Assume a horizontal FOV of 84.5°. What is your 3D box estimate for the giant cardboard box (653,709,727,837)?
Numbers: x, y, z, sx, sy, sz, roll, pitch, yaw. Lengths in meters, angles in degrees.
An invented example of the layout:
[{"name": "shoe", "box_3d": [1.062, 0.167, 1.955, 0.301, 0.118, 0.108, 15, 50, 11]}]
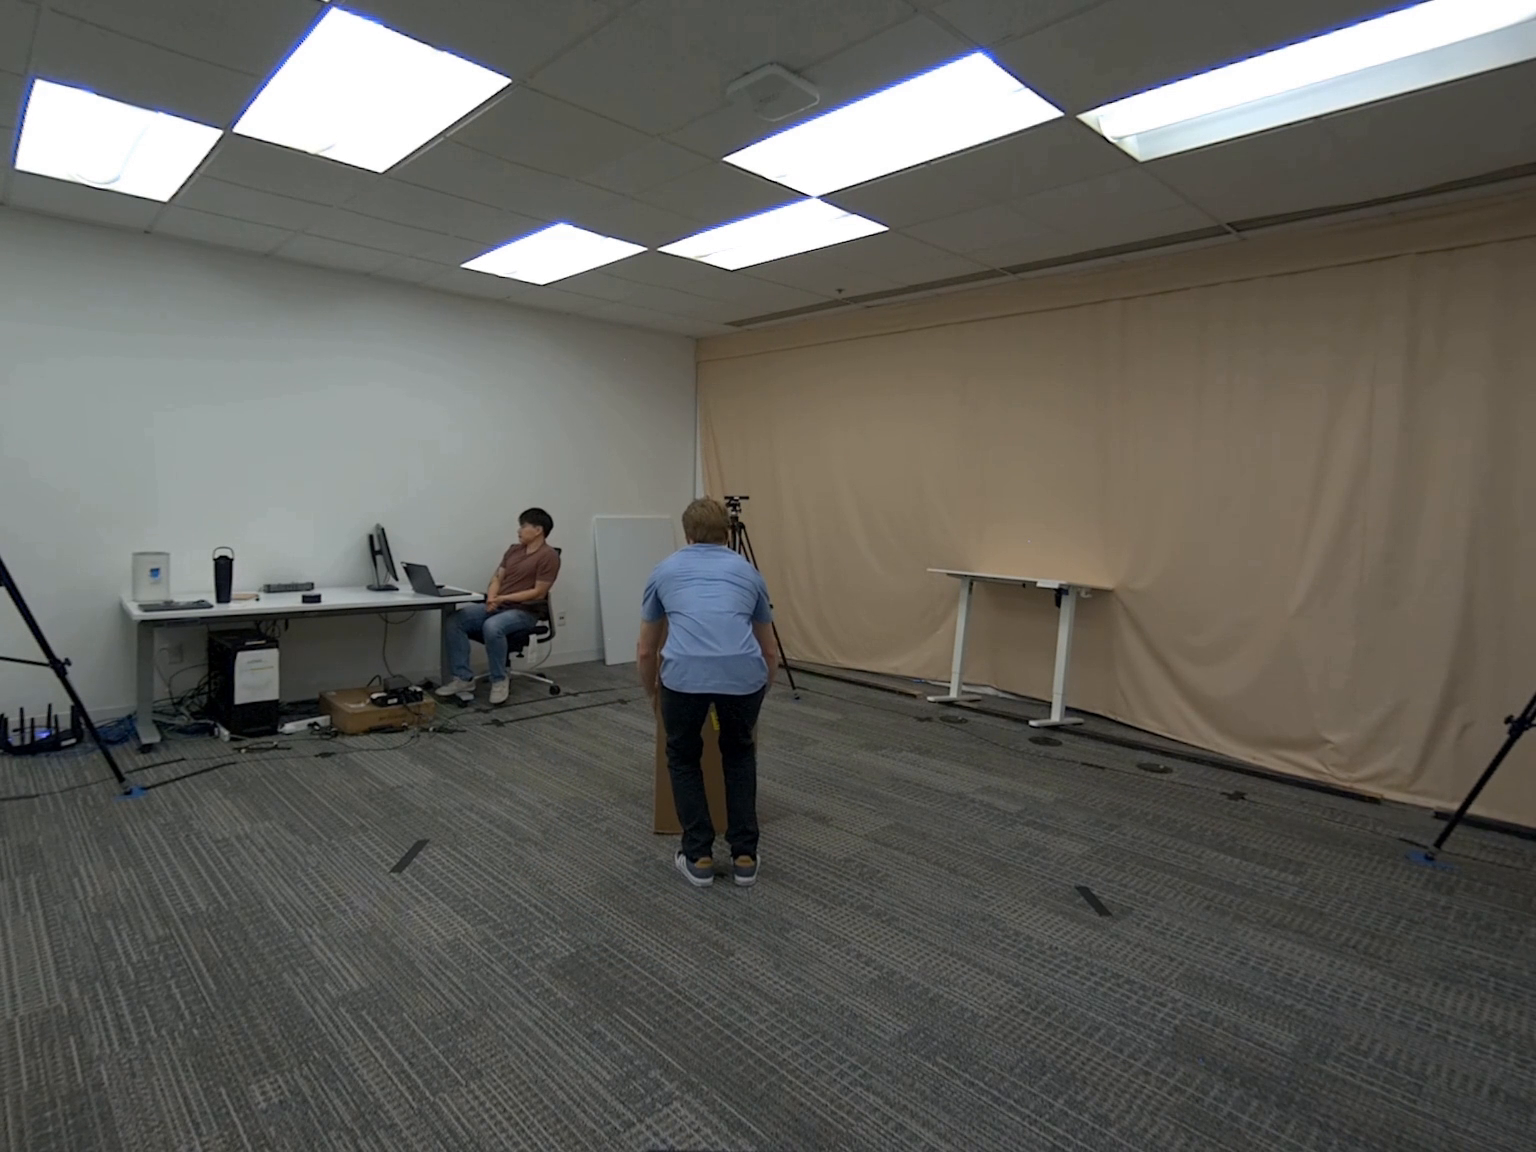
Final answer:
[{"name": "giant cardboard box", "box_3d": [-0.284, 0.538, 3.743, 0.424, 1.024, 0.581, 2, 3, -6]}]
